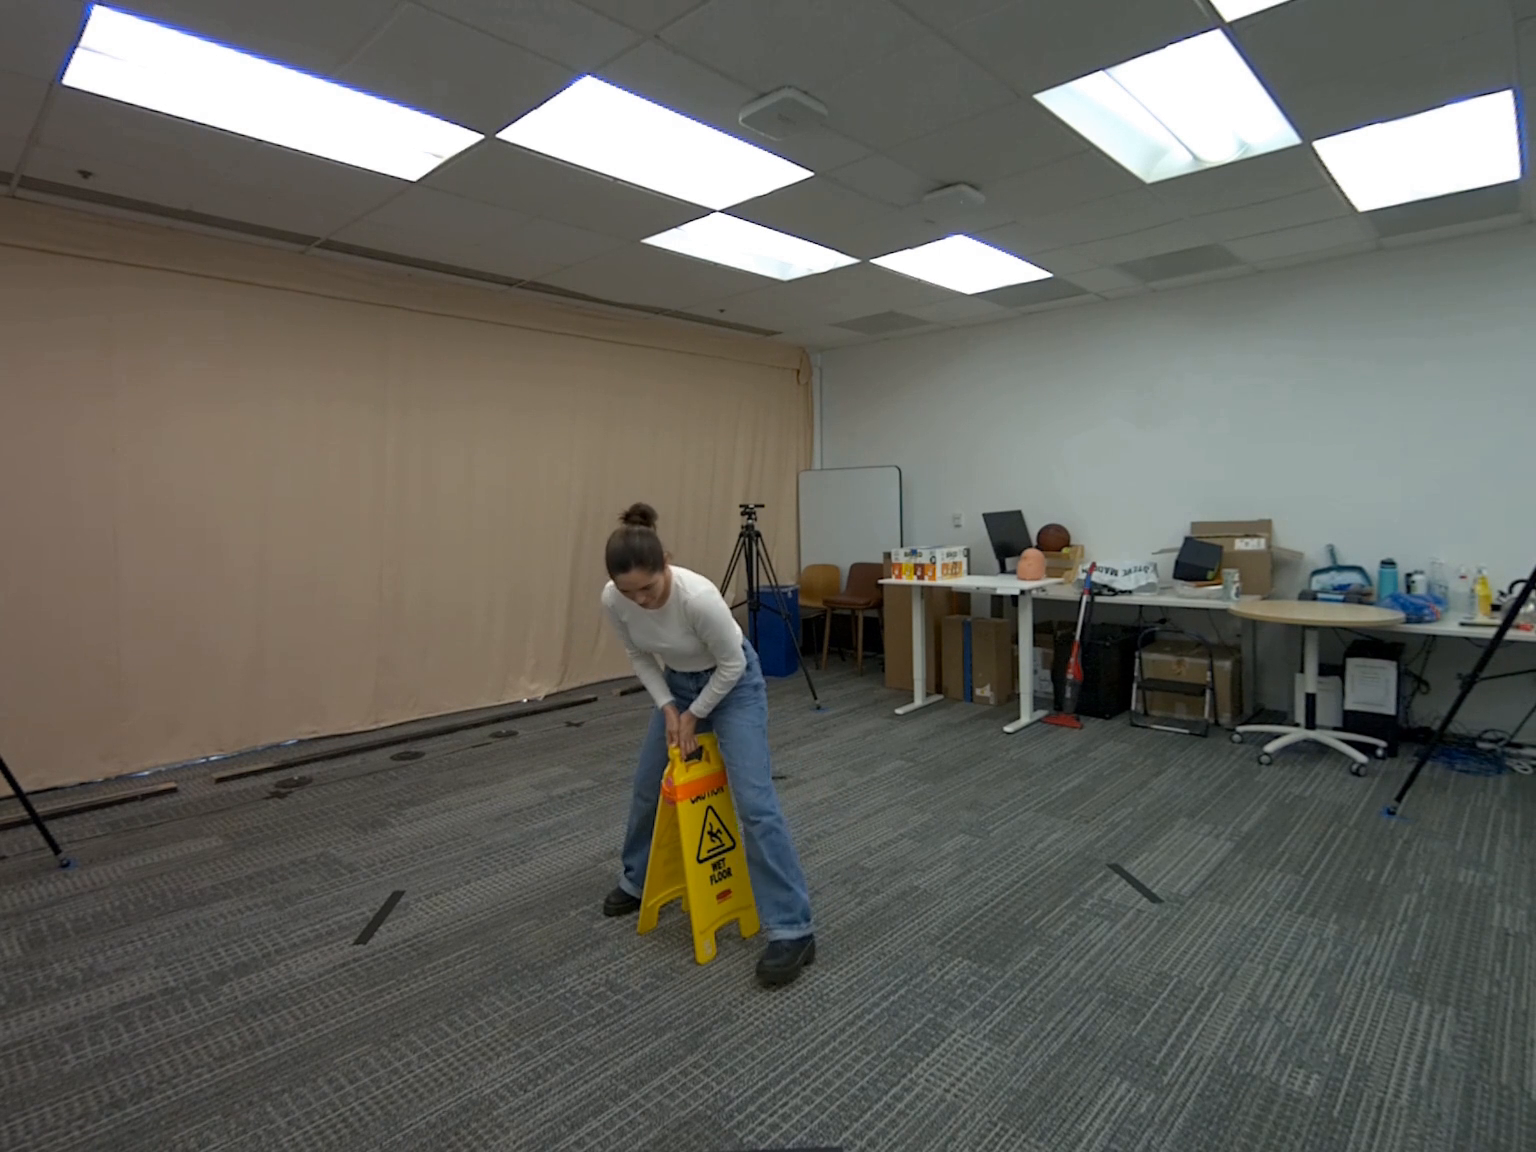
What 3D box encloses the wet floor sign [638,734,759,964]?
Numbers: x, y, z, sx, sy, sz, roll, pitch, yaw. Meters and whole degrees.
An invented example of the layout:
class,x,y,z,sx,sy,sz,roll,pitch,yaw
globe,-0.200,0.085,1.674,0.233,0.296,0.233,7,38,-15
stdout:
class,x,y,z,sx,sy,sz,roll,pitch,yaw
wet floor sign,-0.234,0.847,2.732,0.299,0.645,0.274,0,4,42
